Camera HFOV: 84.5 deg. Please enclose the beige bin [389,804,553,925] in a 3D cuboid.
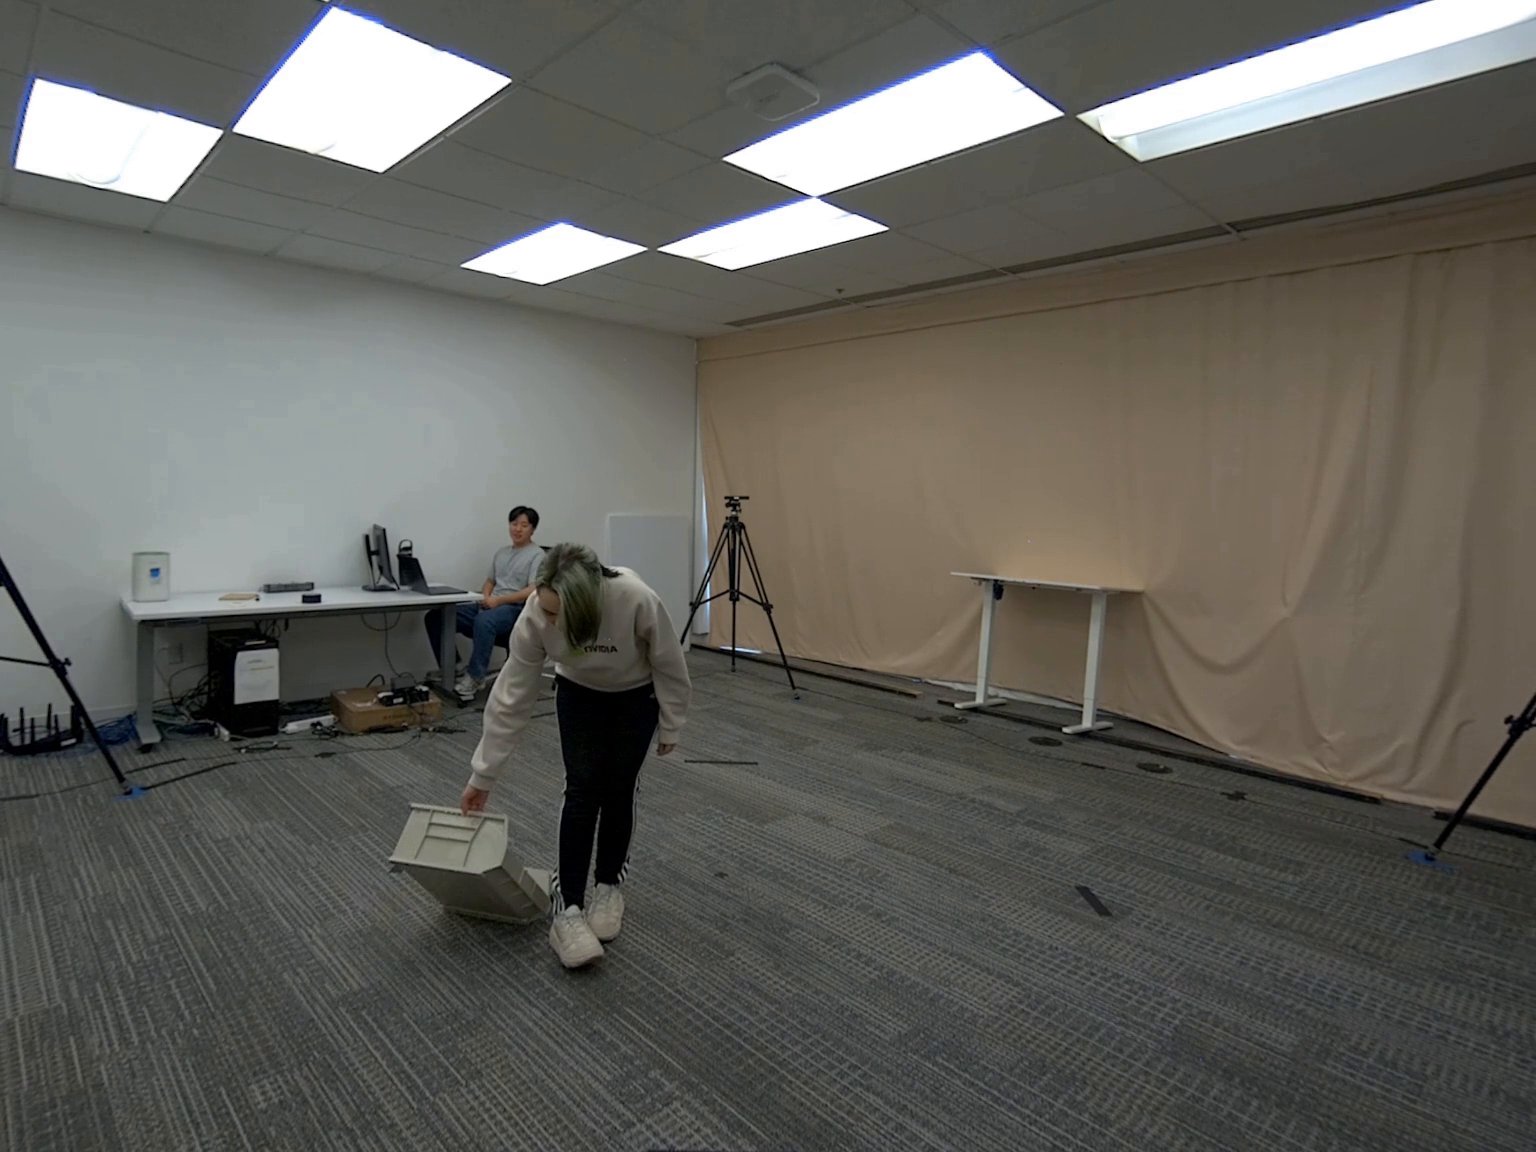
[{"bbox_3d":[-0.923,0.919,2.652,0.382,0.192,0.411,2,-40,14],"label":"beige bin"}]
